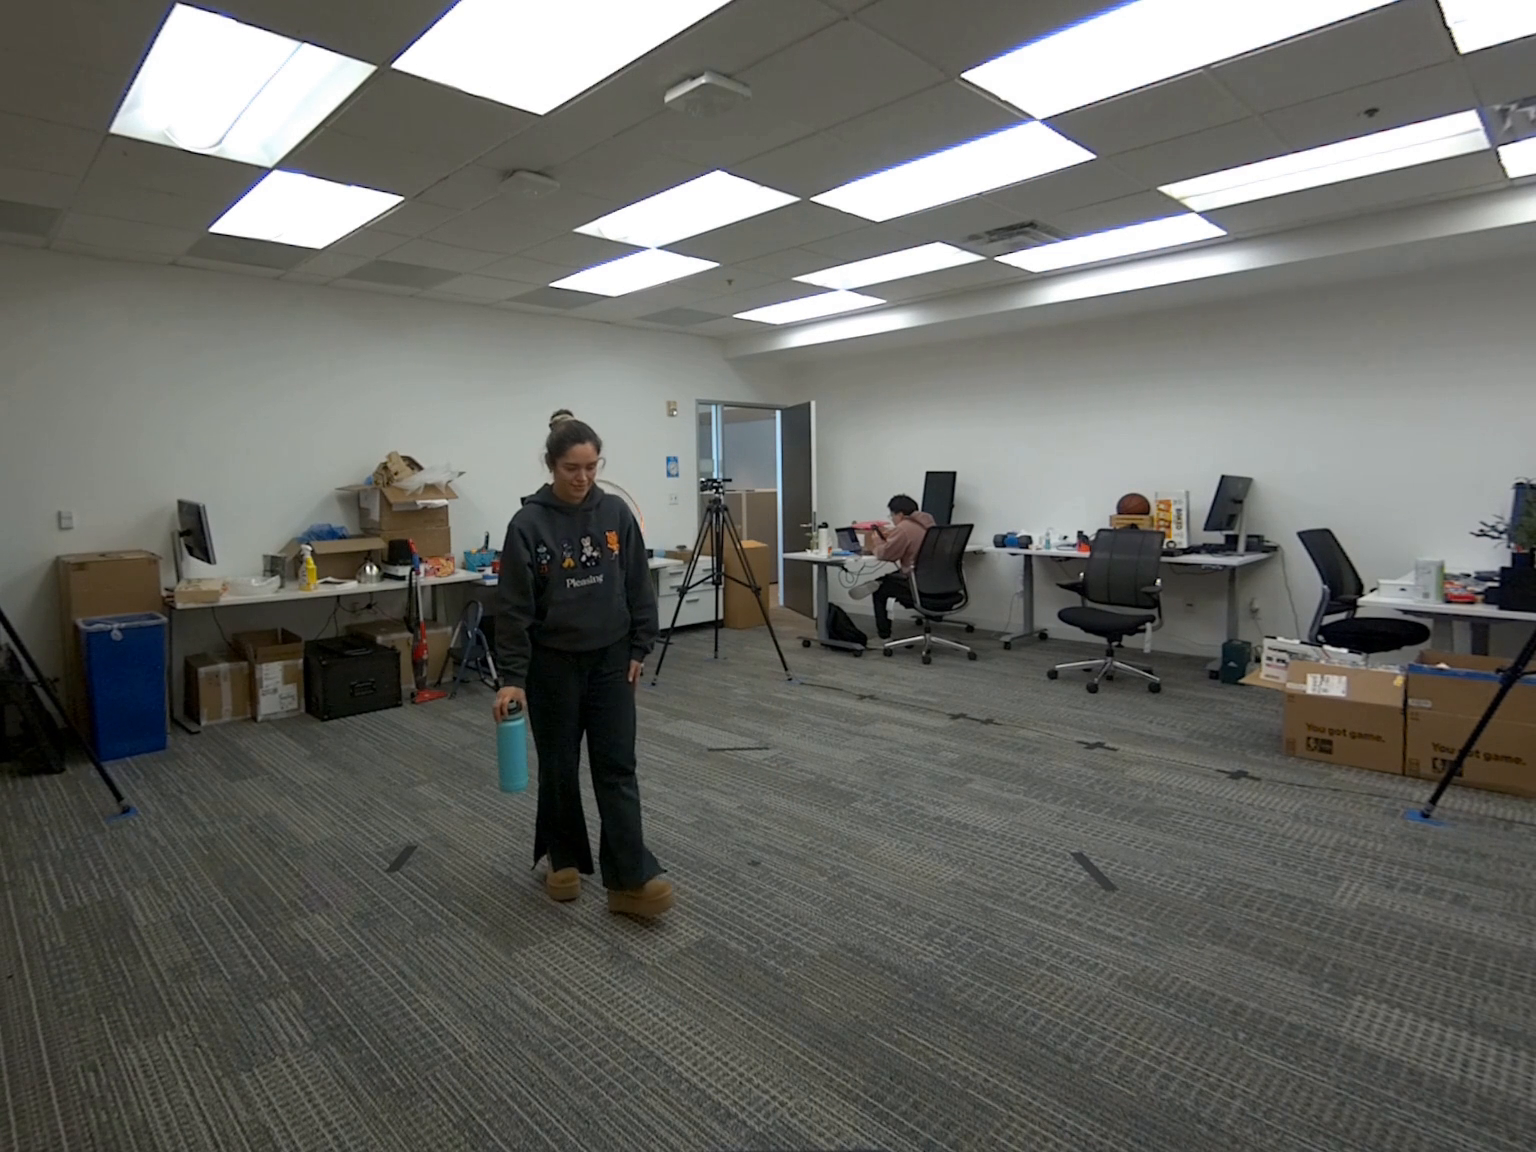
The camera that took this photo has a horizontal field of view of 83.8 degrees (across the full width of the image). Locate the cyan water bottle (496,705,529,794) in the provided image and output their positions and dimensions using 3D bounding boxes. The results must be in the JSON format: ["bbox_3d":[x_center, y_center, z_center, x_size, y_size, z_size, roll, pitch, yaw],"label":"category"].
[{"bbox_3d":[-0.803,0.530,2.669,0.092,0.282,0.093,0,6,-2],"label":"cyan water bottle"}]
